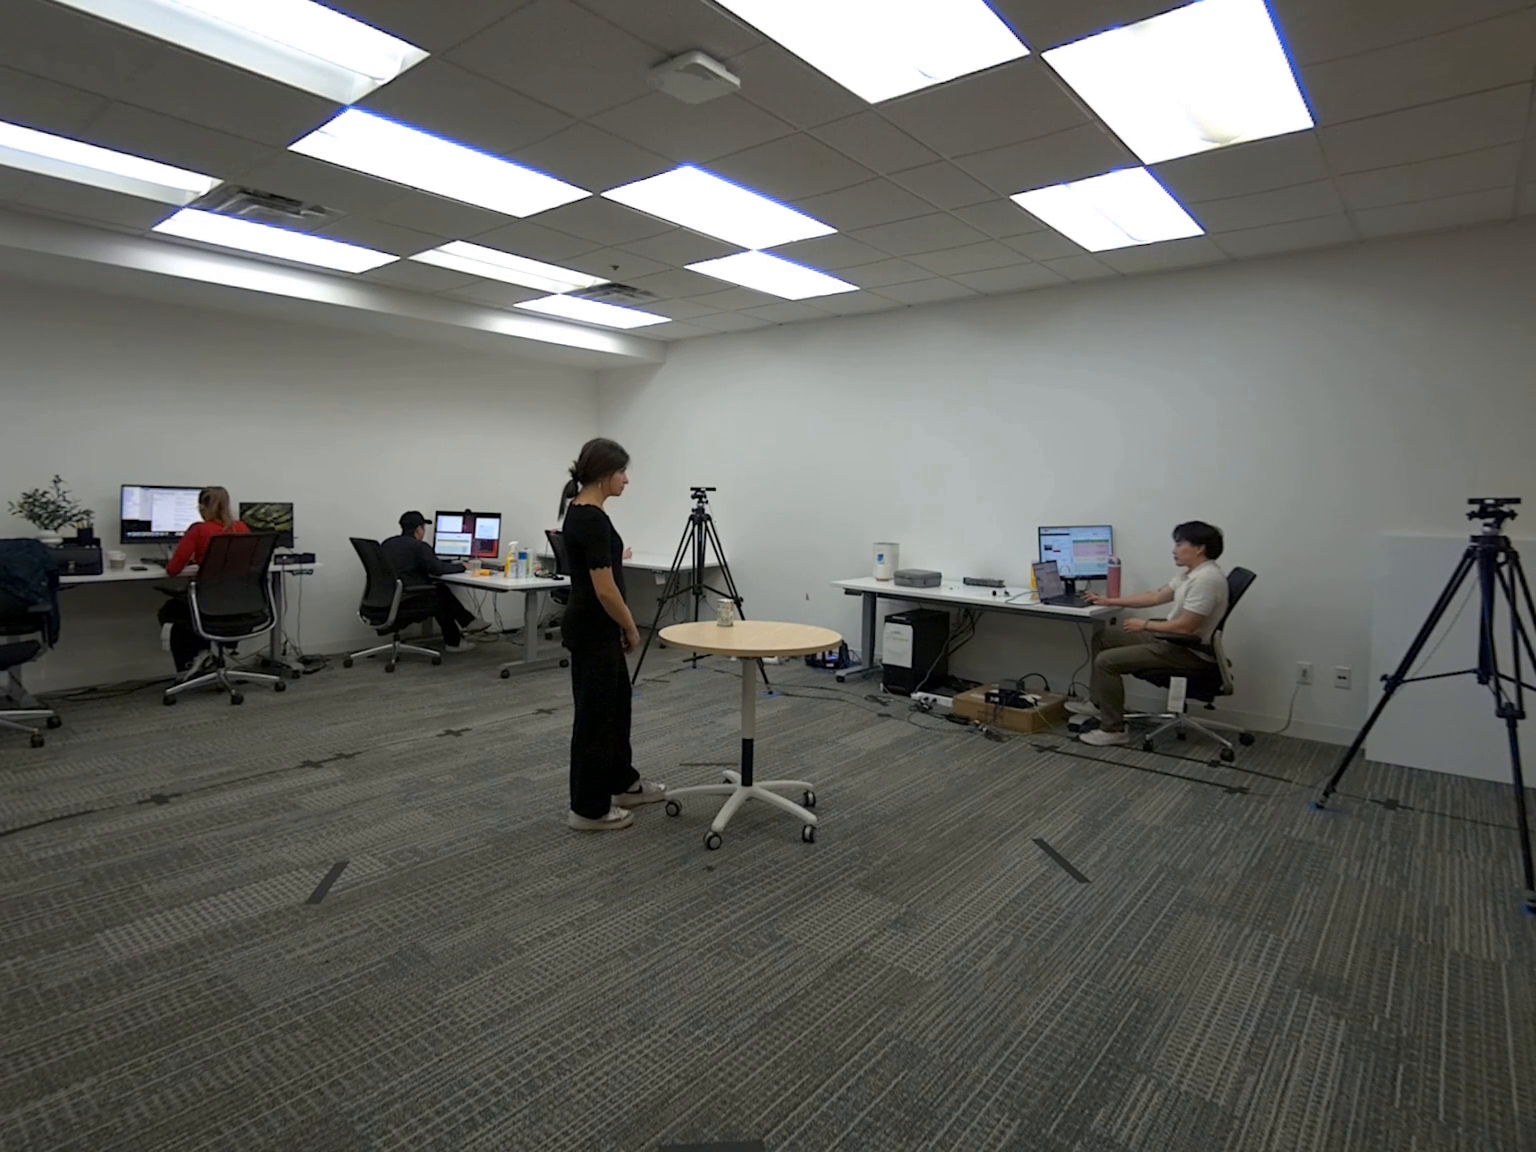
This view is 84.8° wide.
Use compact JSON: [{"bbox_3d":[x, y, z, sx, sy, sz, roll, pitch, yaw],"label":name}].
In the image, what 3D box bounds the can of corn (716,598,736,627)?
[{"bbox_3d":[-0.206,0.164,3.791,0.074,0.110,0.074,1,4,-2],"label":"can of corn"}]
